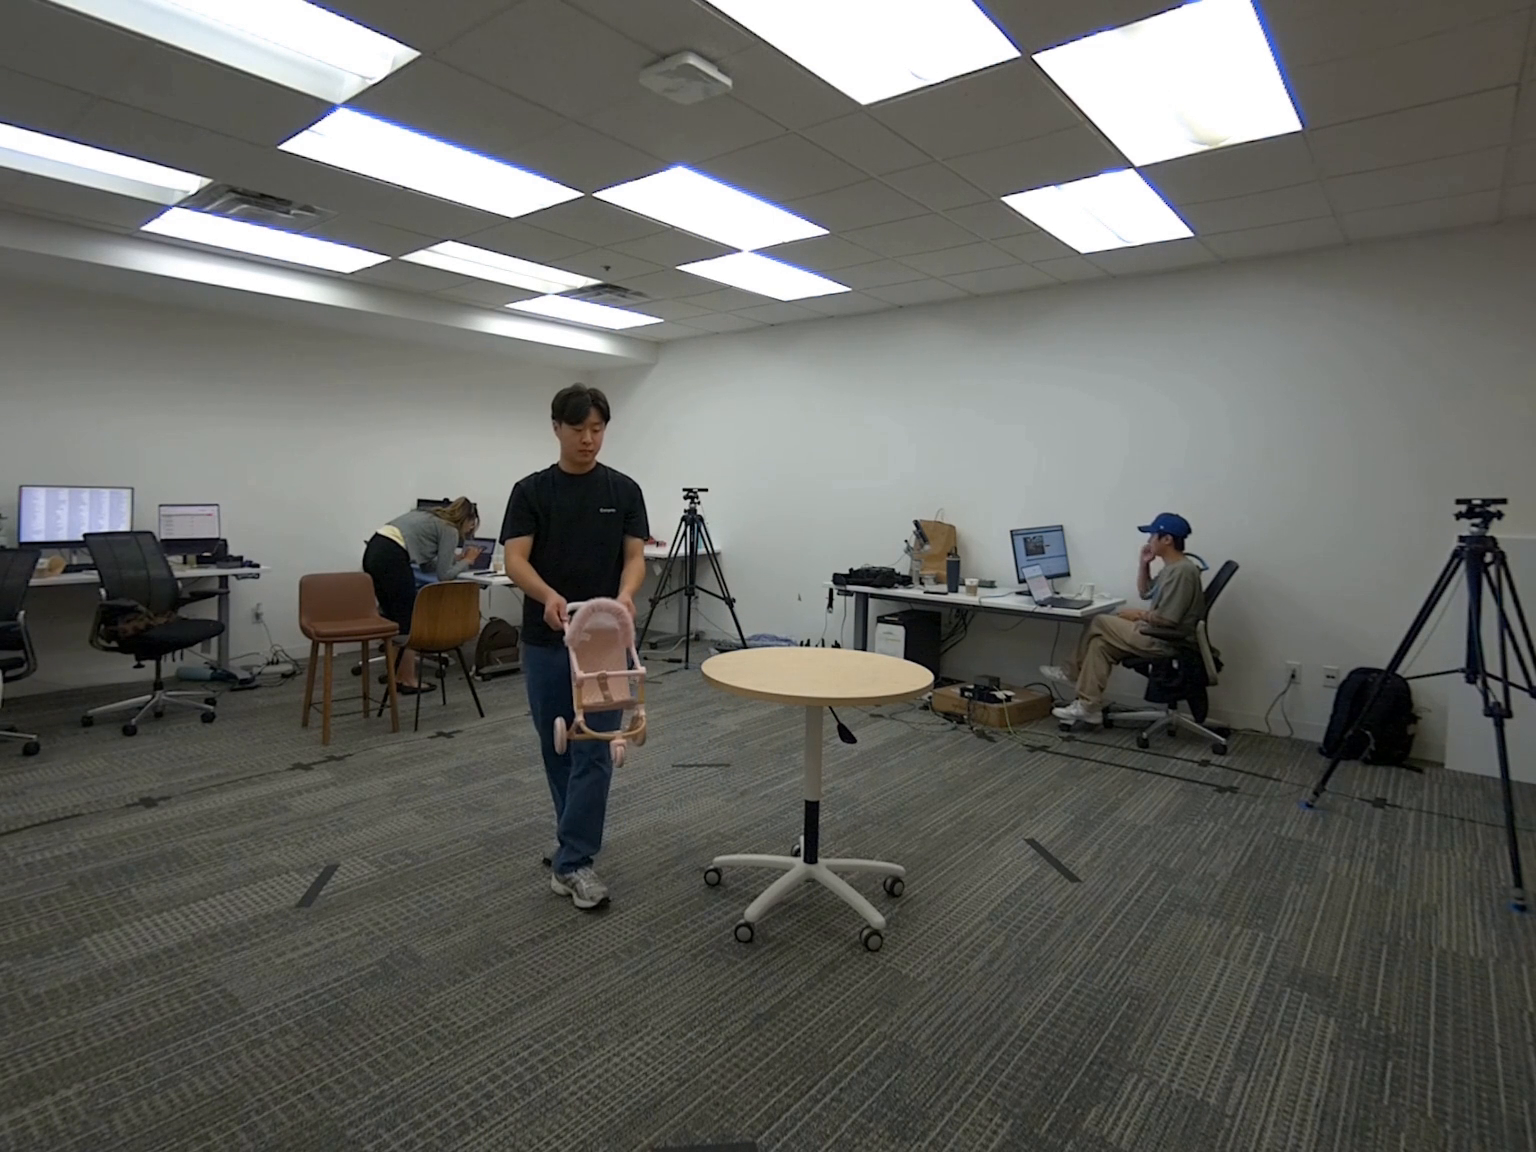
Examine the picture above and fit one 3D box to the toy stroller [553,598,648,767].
[{"bbox_3d":[-0.516,0.308,2.578,0.276,0.543,0.342,-1,-15,-18],"label":"toy stroller"}]
